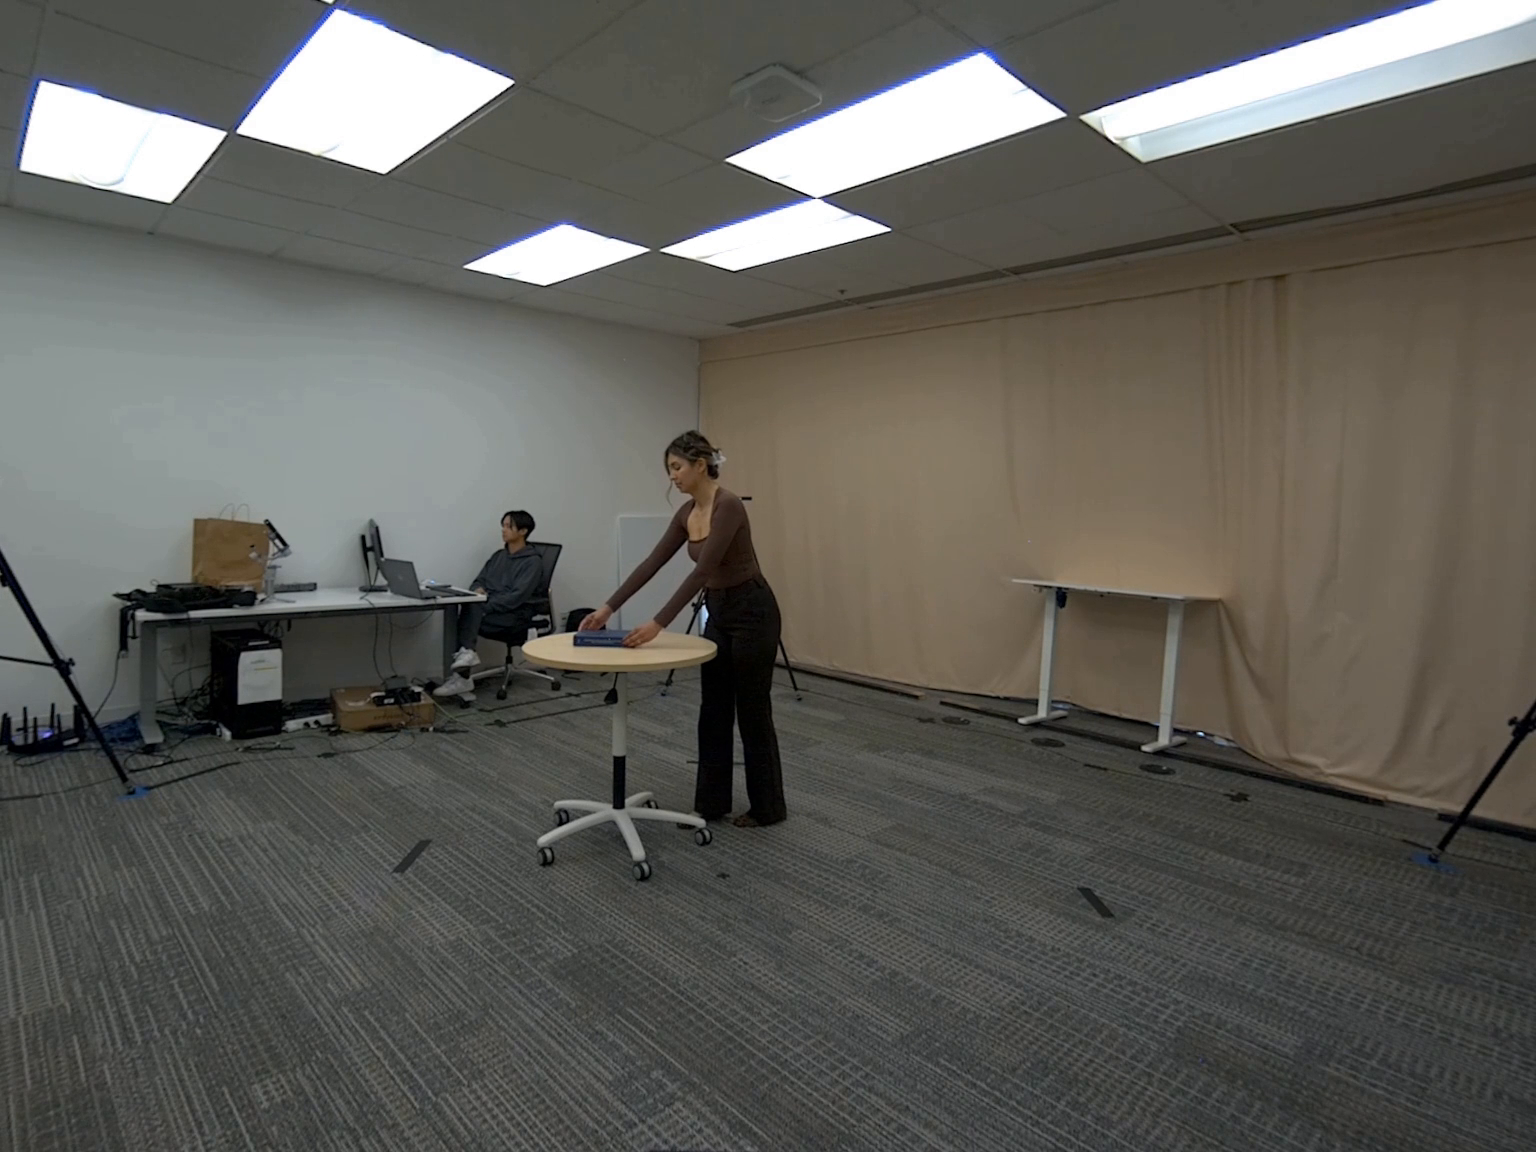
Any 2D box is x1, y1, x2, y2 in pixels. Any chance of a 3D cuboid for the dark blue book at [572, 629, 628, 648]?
[{"bbox_3d":[-0.655,0.253,3.378,0.245,0.045,0.163,1,5,2],"label":"dark blue book"}]
